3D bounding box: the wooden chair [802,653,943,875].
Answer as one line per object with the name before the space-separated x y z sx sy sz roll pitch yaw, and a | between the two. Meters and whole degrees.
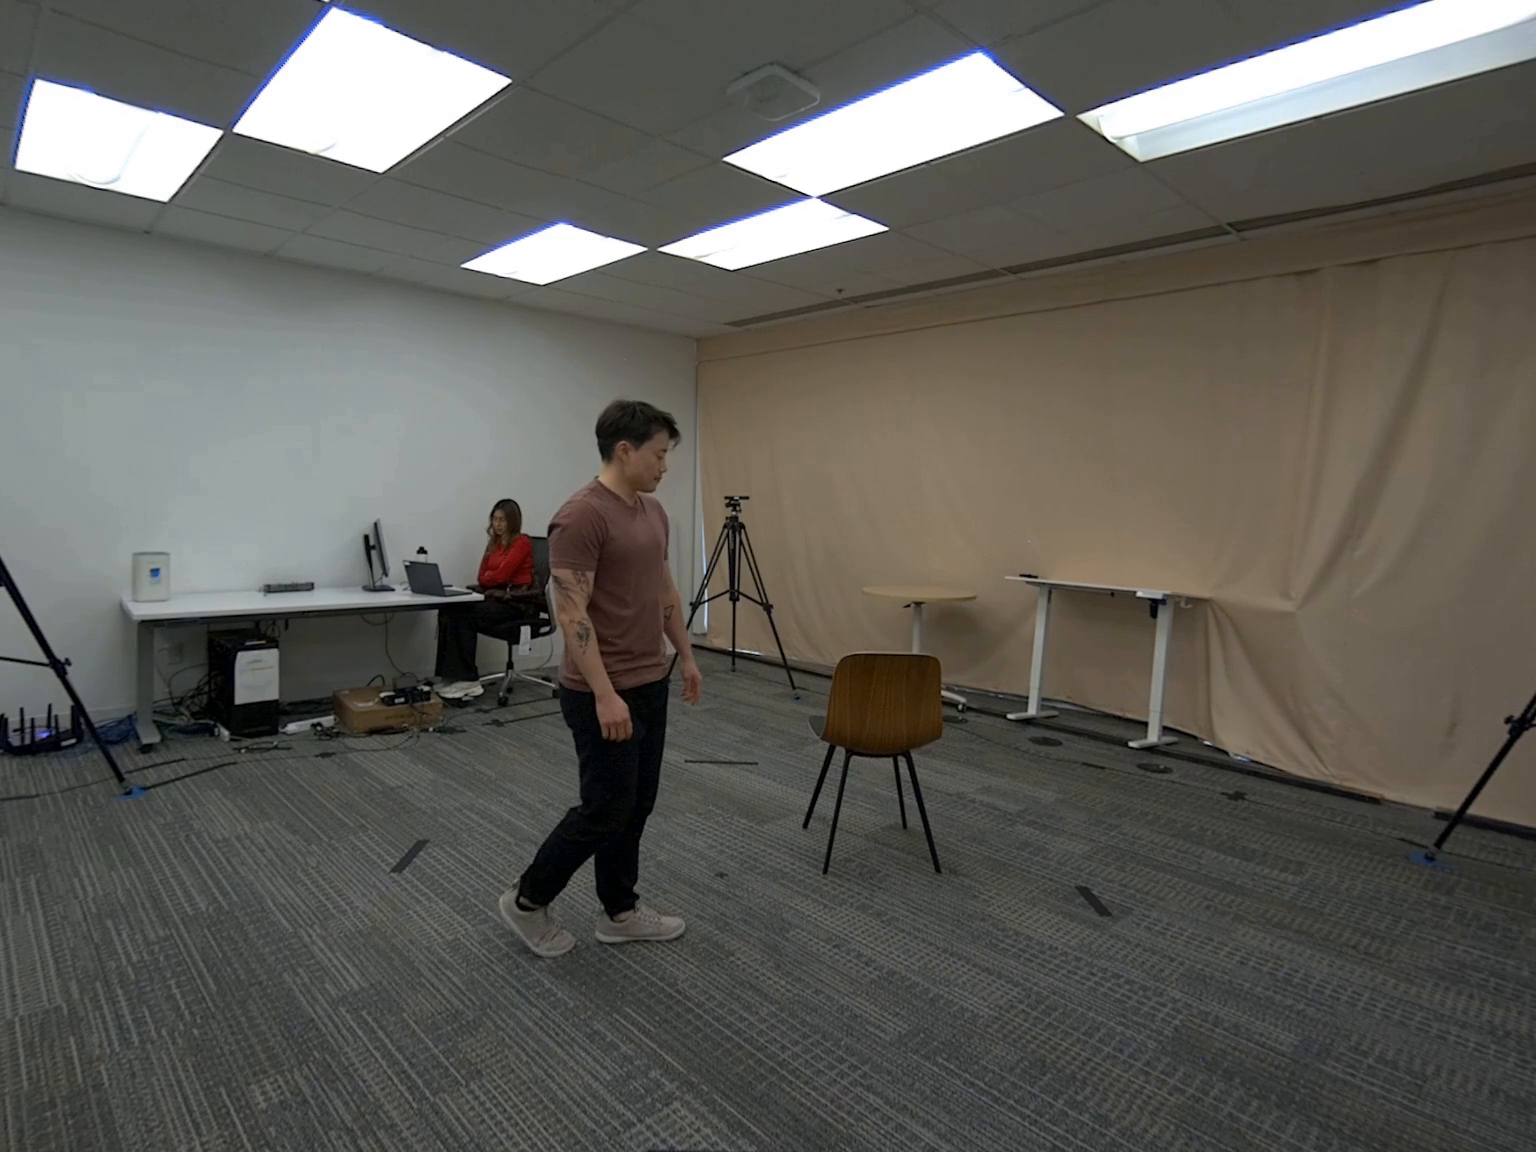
wooden chair | 0.395 0.665 3.349 0.475 0.873 0.529 1 7 -7
